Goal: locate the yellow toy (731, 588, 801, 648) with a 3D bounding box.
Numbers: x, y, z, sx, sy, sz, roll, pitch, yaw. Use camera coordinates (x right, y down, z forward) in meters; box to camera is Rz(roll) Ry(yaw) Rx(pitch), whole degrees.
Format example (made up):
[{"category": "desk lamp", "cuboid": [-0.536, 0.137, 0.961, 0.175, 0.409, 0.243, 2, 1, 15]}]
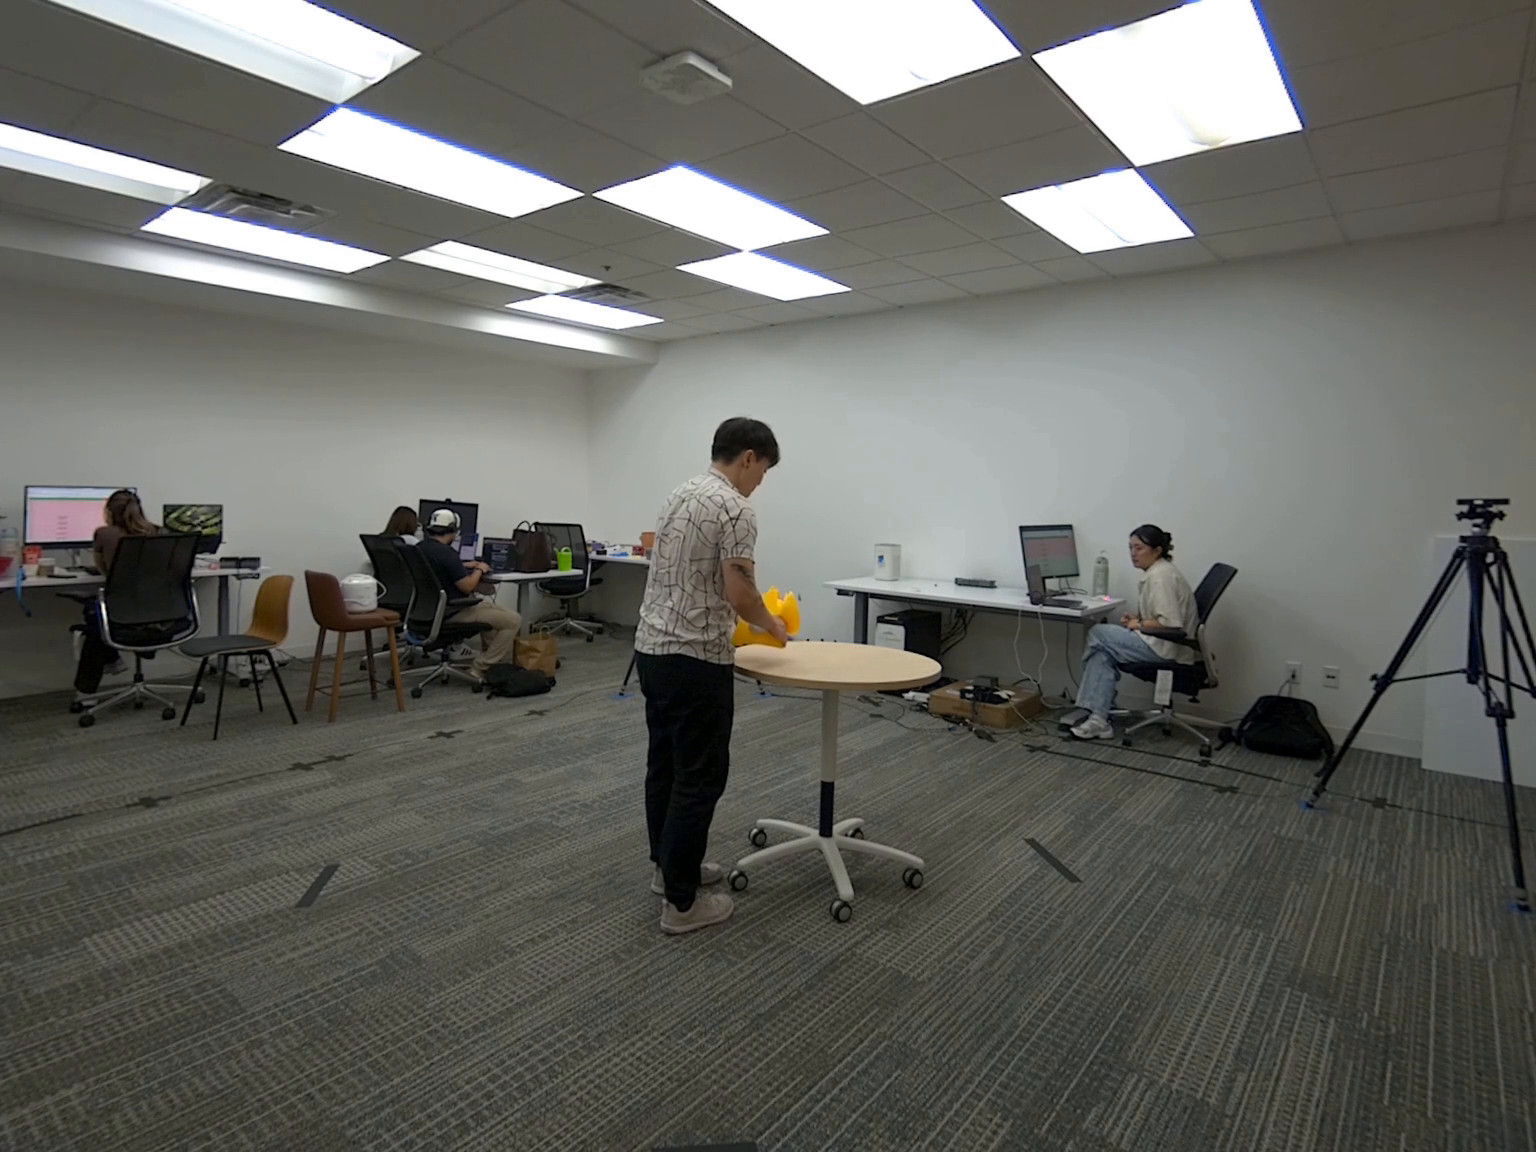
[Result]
[{"category": "yellow toy", "cuboid": [-0.042, 0.154, 2.997, 0.227, 0.191, 0.211, -12, 13, -22]}]
